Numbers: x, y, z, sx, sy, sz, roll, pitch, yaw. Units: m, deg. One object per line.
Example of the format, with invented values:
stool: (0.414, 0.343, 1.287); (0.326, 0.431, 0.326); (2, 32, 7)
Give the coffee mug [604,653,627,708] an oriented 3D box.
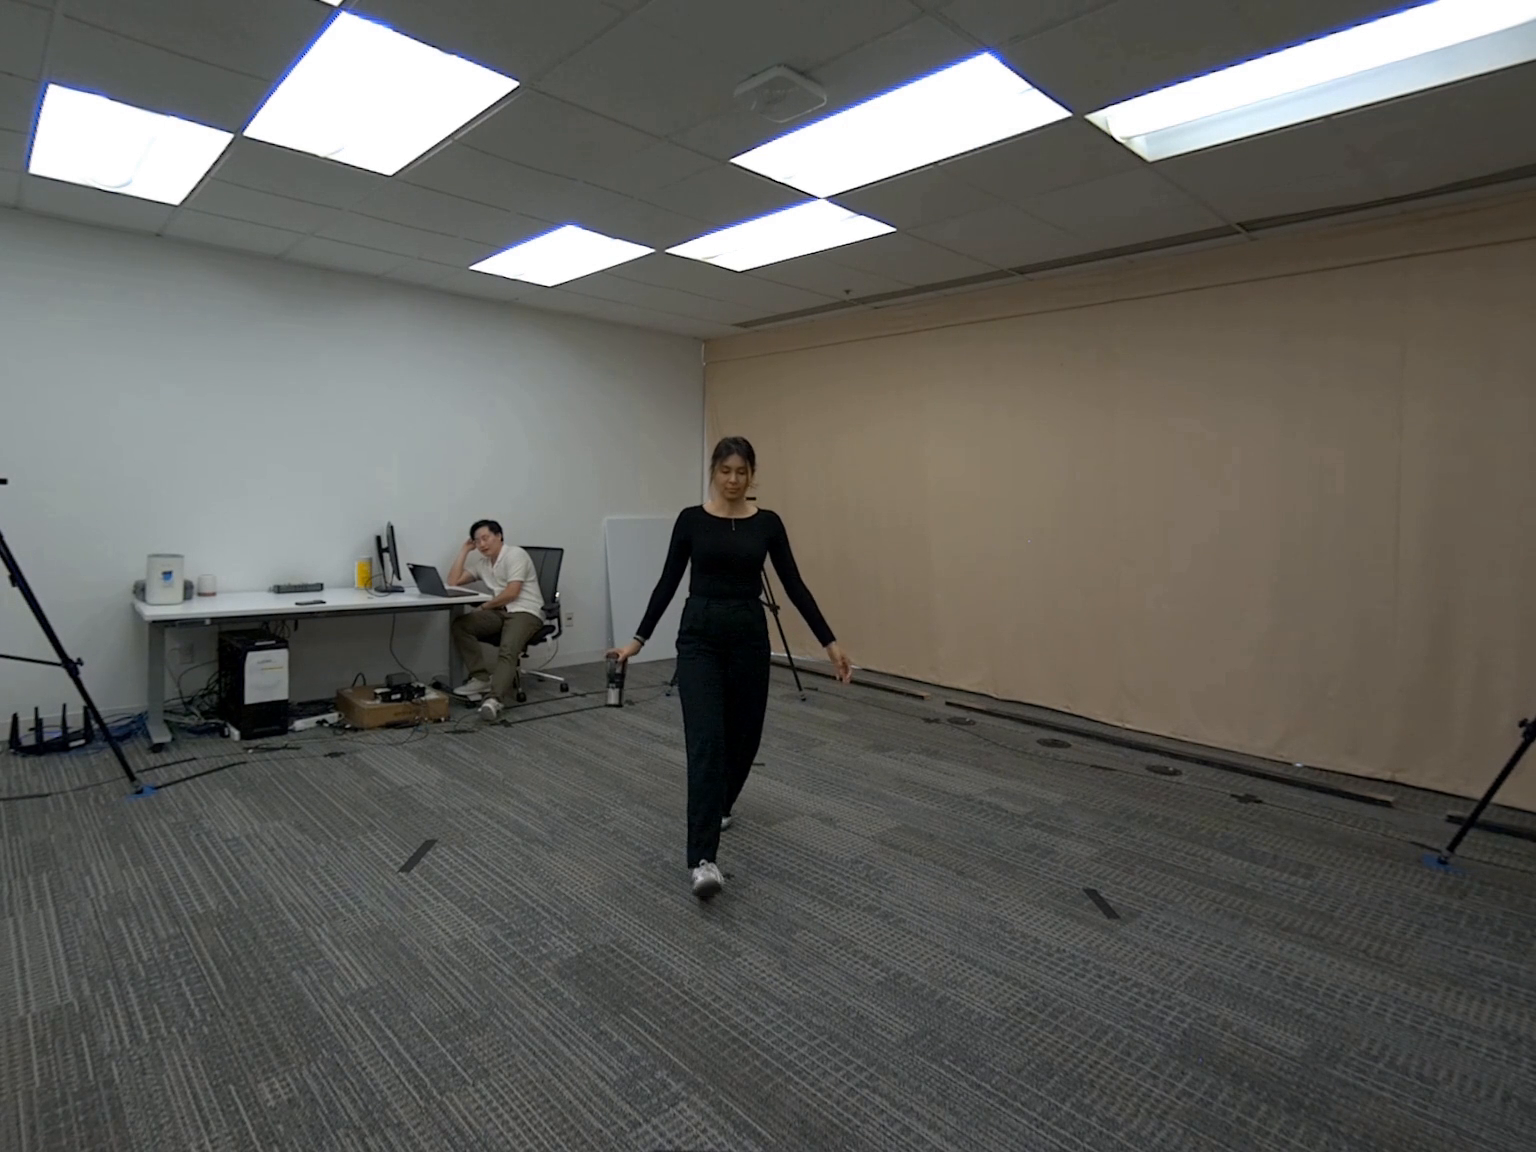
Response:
coffee mug: (-0.618, 0.400, 3.333); (0.090, 0.204, 0.118); (0, -8, 41)
